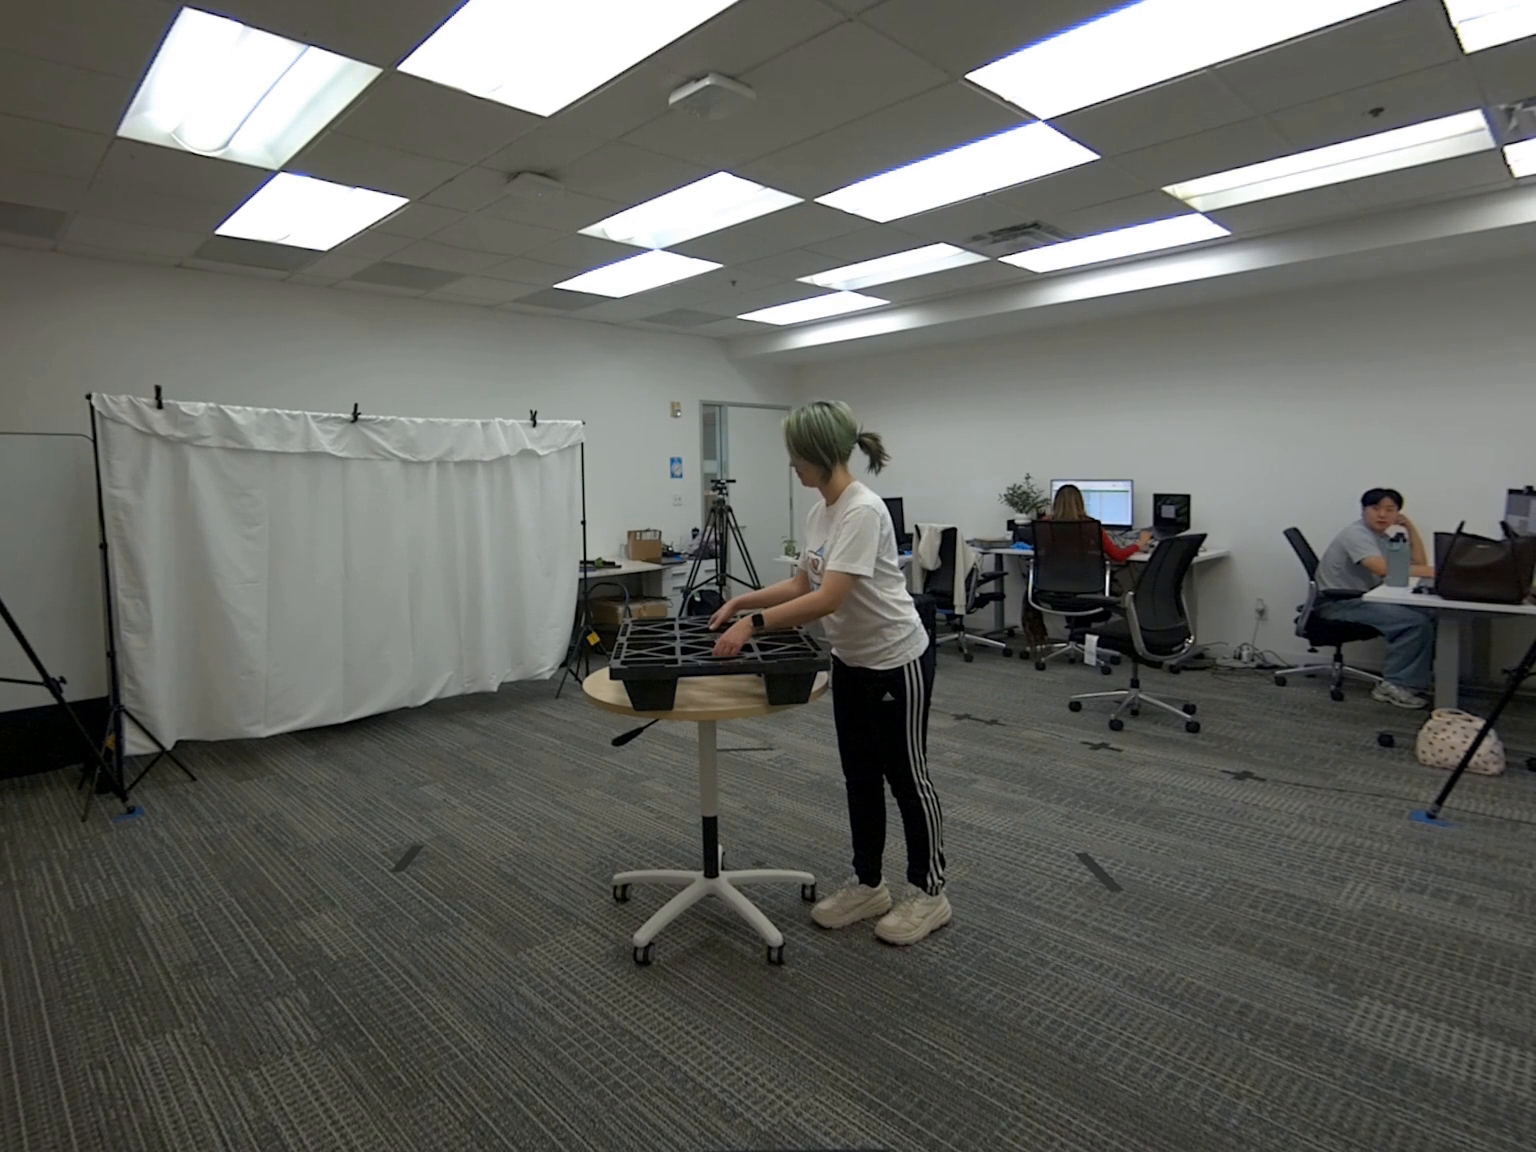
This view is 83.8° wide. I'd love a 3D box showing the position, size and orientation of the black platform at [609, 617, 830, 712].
[{"bbox_3d":[-0.176,0.253,2.669,0.603,0.143,0.812,-2,6,-5],"label":"black platform"}]
